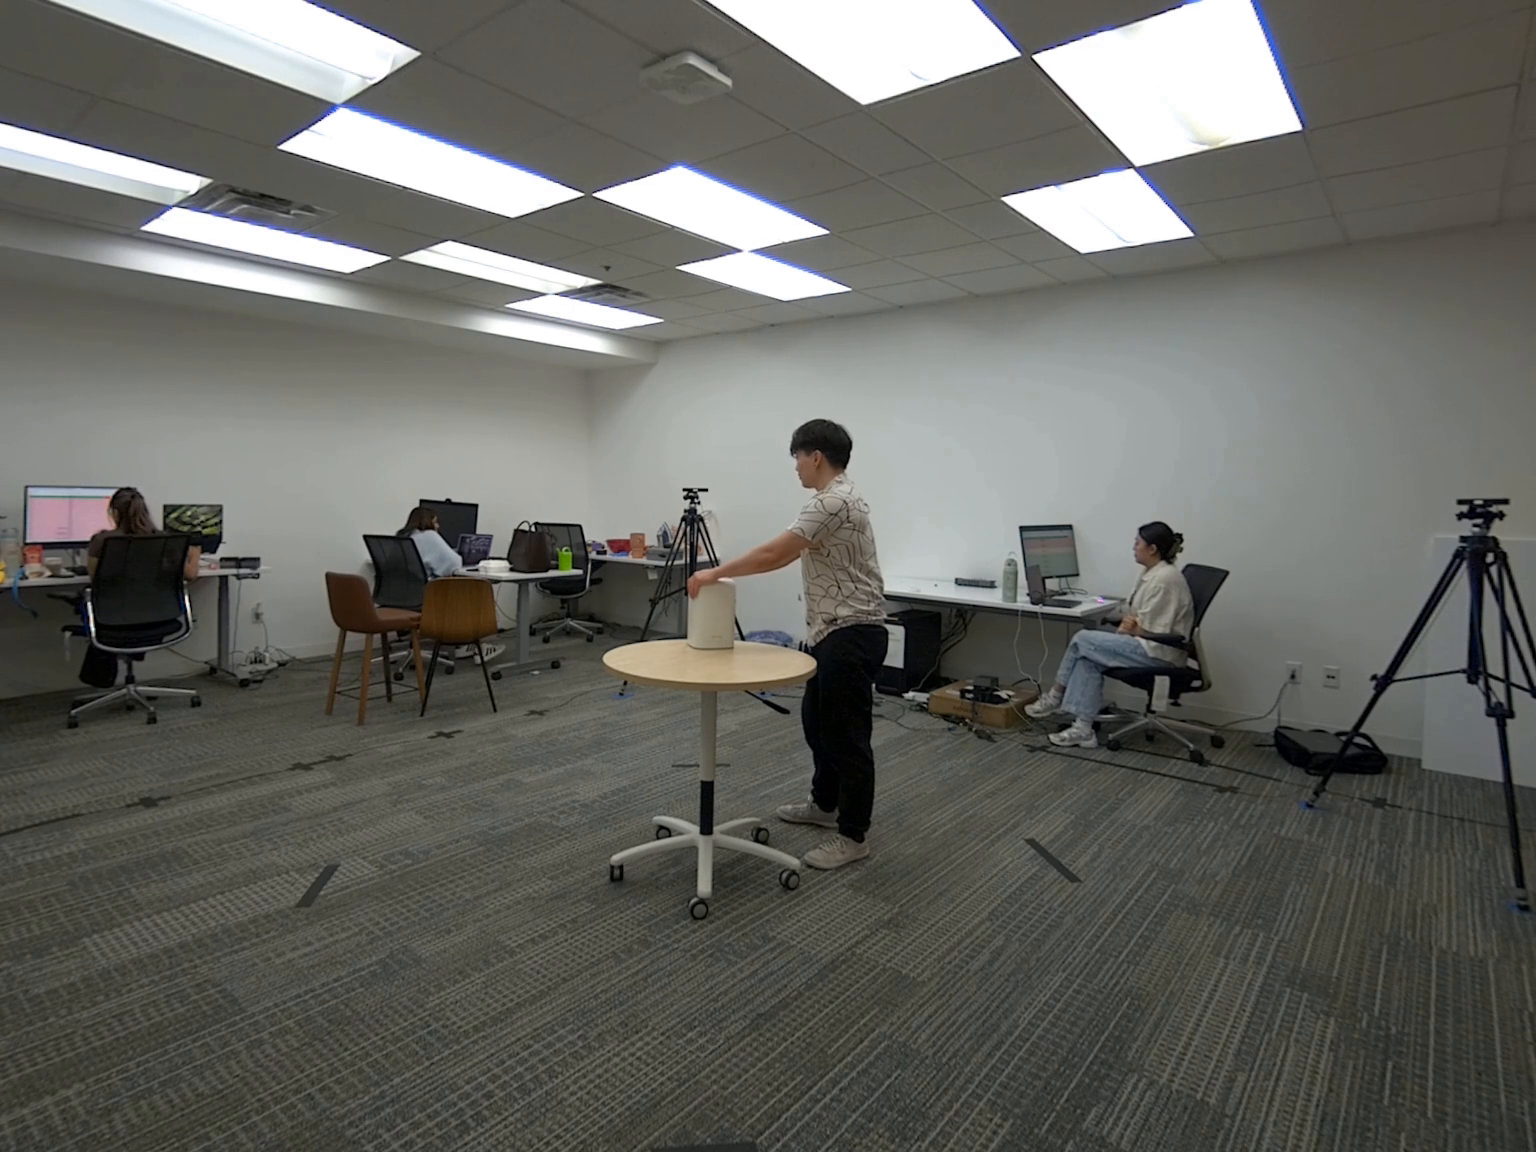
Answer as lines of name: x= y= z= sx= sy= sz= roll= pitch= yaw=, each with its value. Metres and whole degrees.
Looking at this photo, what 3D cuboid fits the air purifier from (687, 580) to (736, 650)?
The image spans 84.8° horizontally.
air purifier: x=-0.226 y=0.133 z=3.307 sx=0.169 sy=0.264 sz=0.174 roll=-1 pitch=4 yaw=-12
